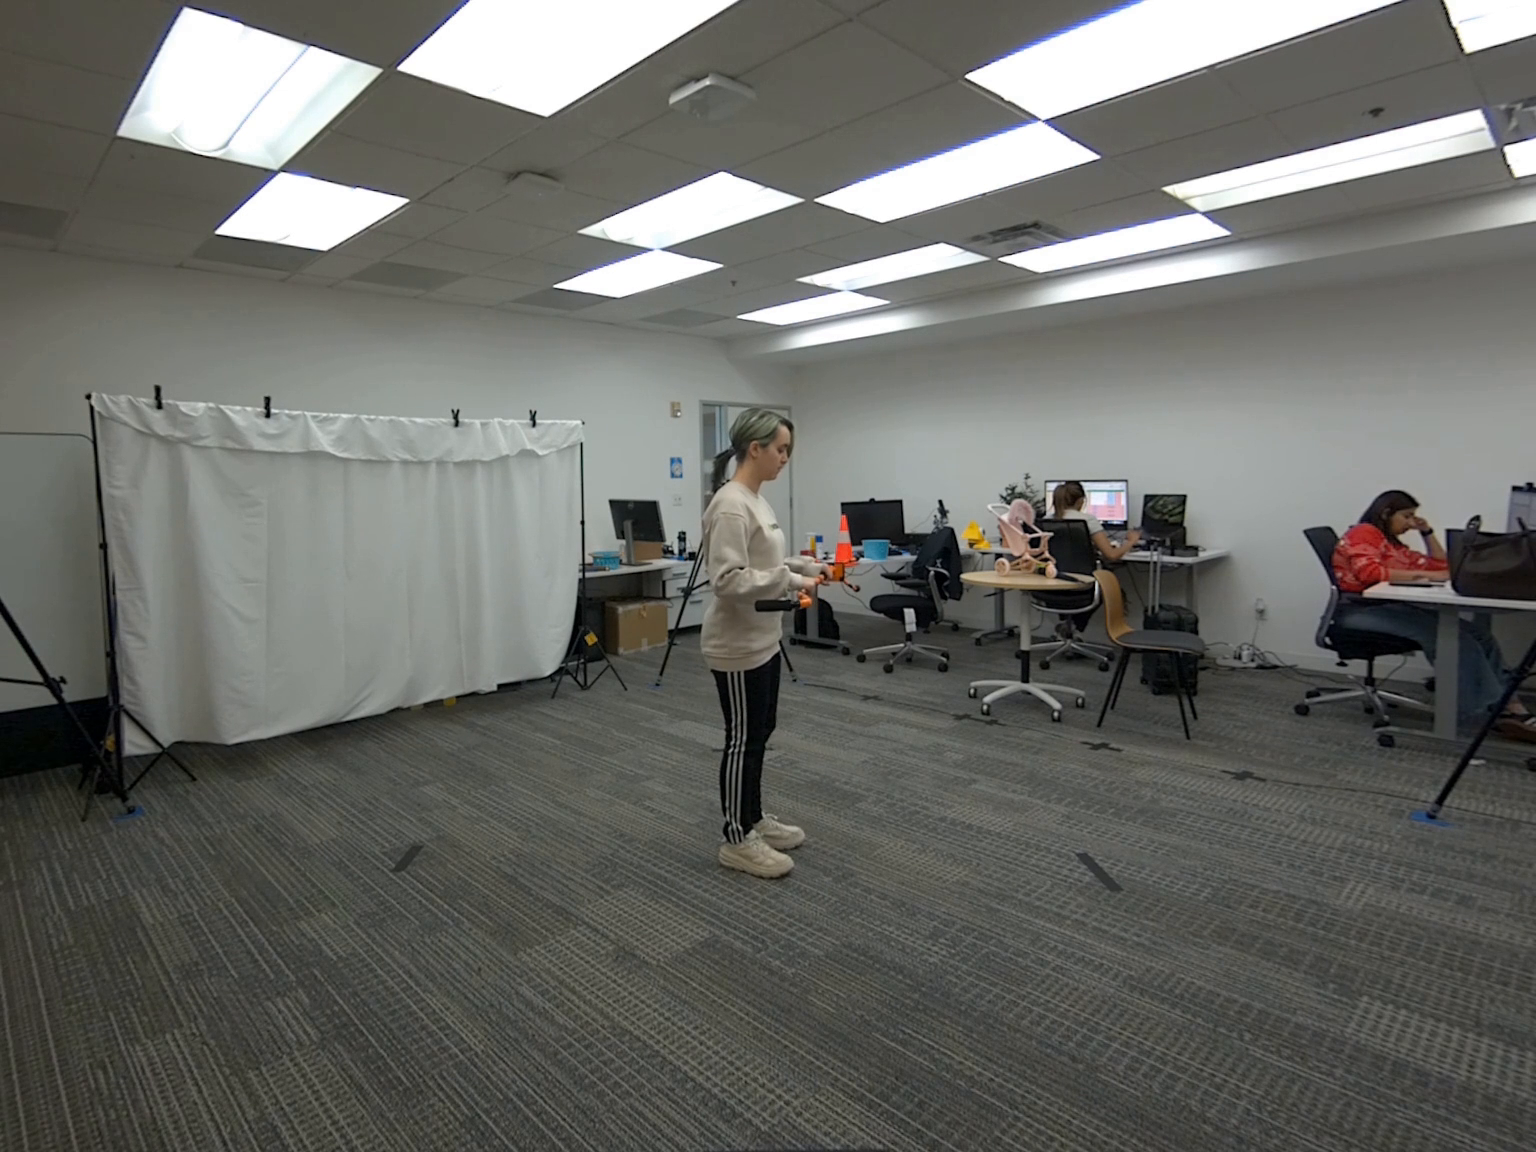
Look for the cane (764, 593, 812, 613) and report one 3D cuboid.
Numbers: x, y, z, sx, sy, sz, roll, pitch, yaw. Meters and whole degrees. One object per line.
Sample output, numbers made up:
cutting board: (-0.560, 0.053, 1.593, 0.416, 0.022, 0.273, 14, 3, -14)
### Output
cane: (0.198, 0.047, 2.968, 0.209, 0.151, 0.902, -1, 7, 10)
